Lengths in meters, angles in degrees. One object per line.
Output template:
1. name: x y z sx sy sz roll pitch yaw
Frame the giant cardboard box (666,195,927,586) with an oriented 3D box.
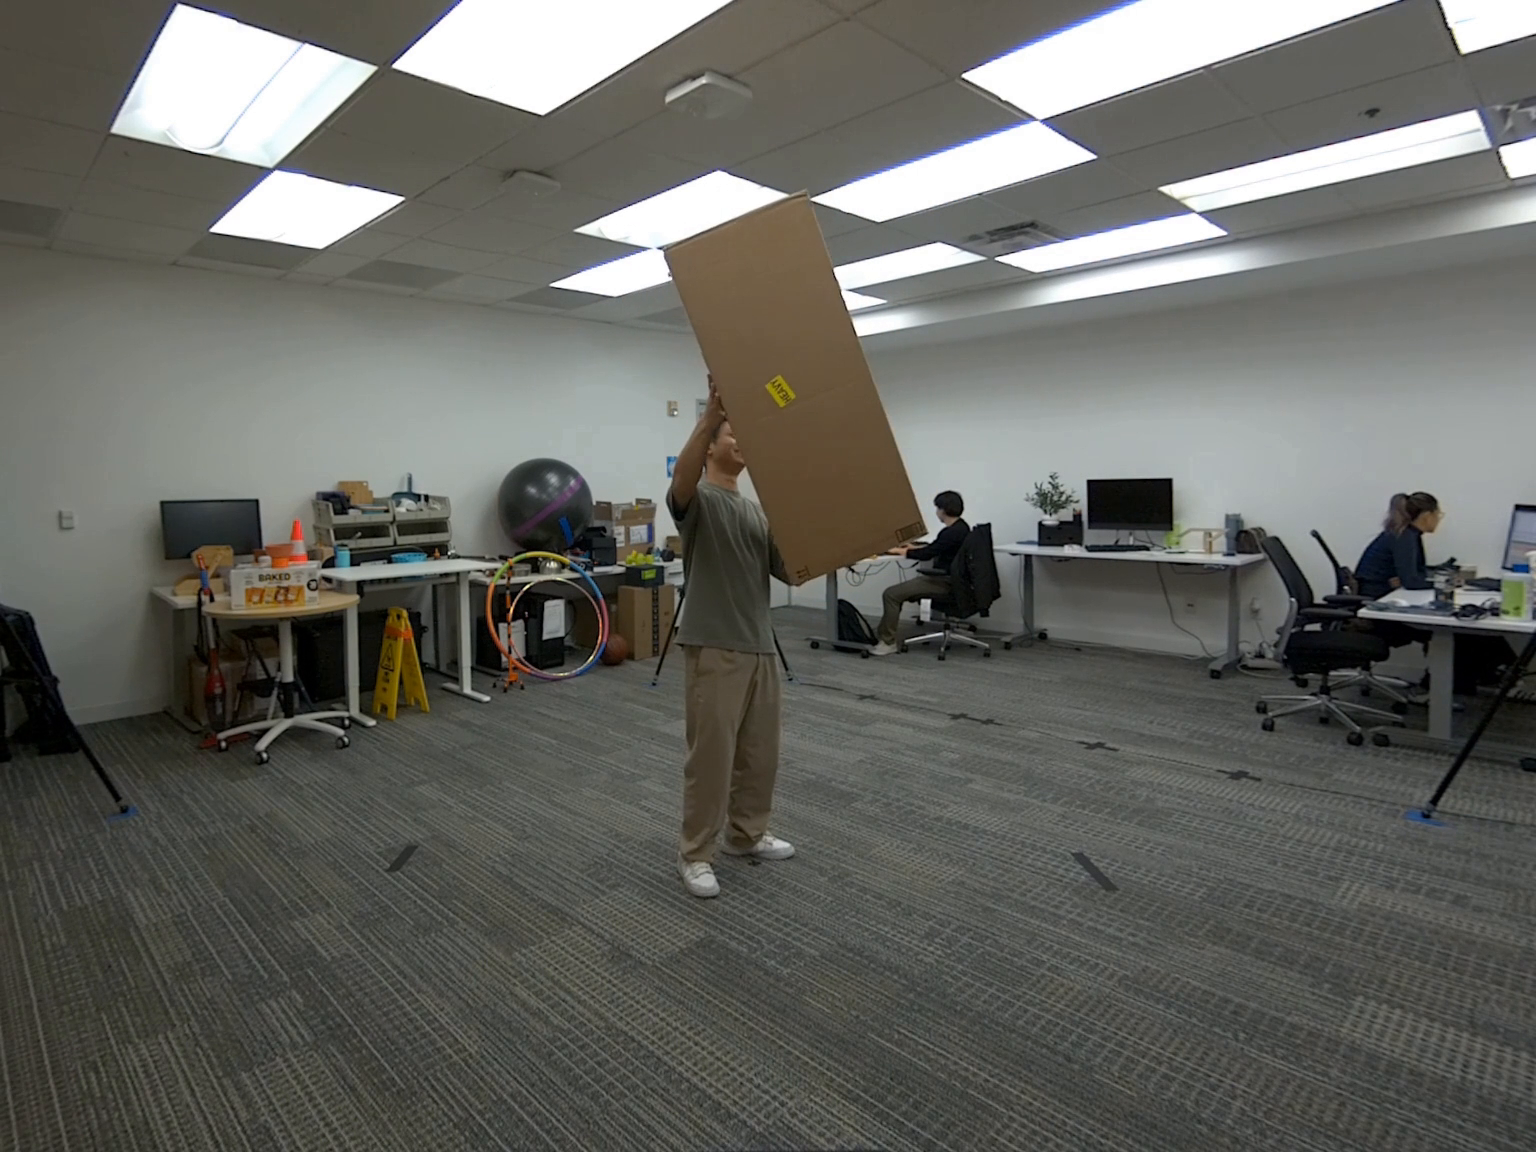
1. giant cardboard box: 0.084 -0.573 2.675 0.427 1.012 0.584 -21 12 4
